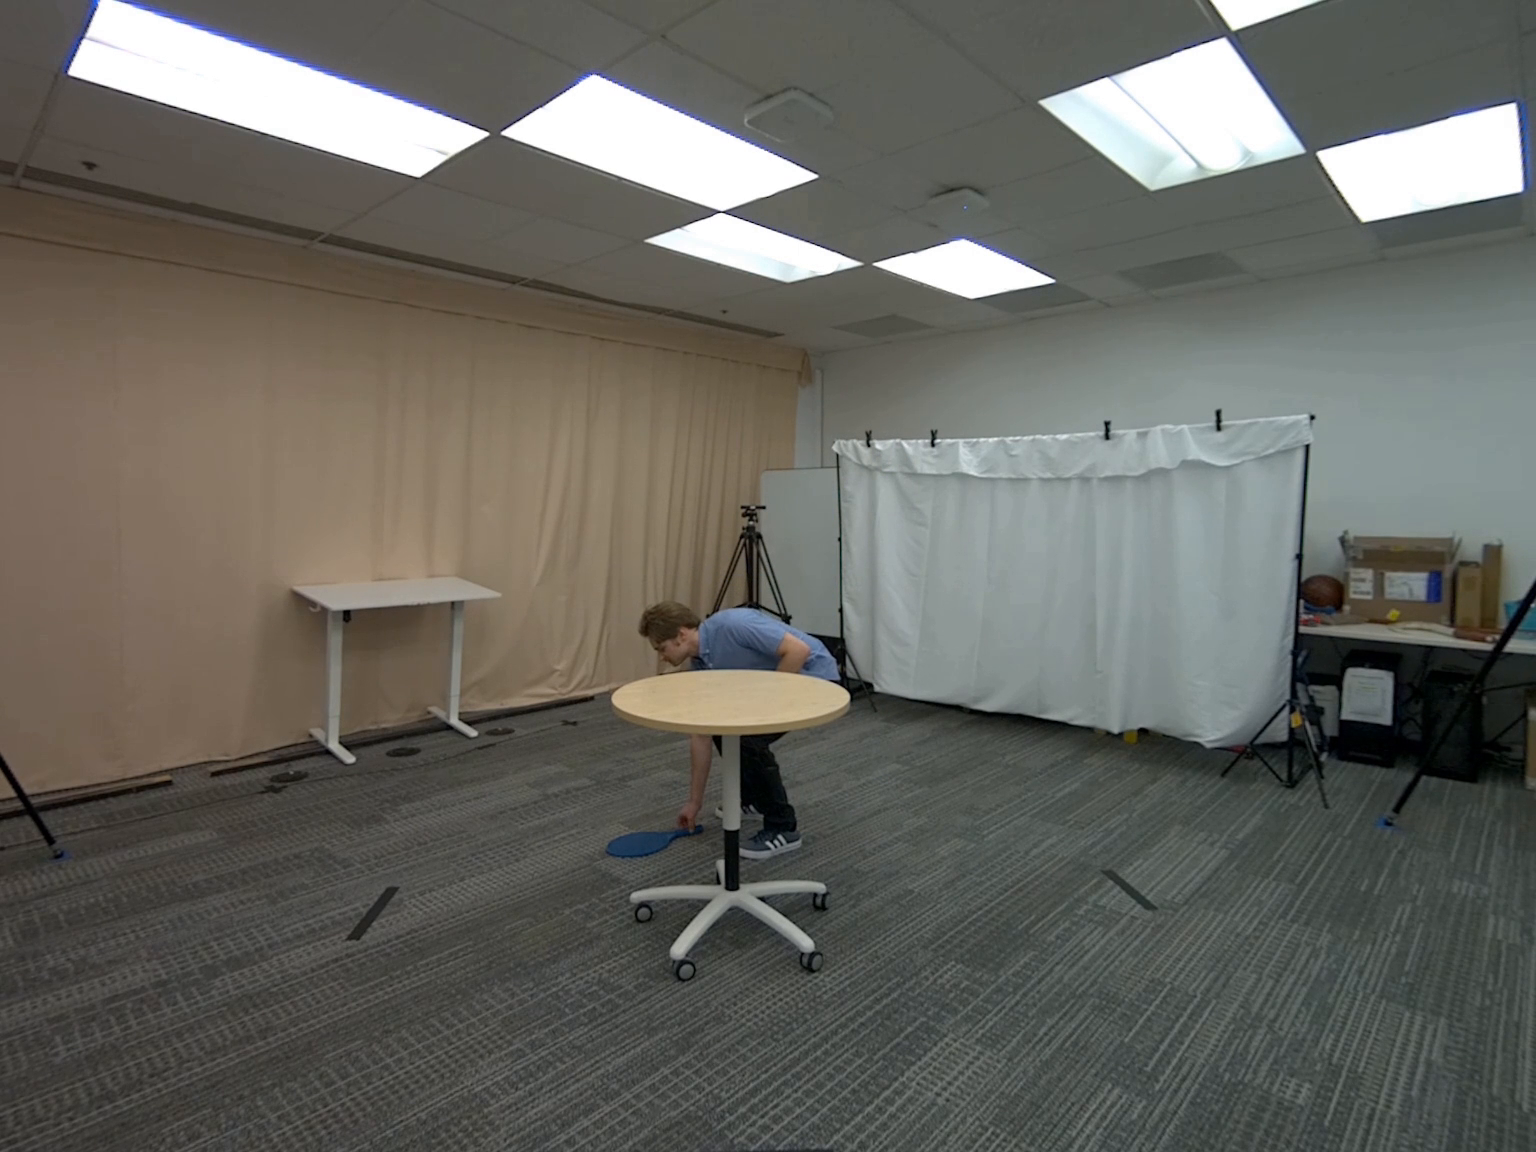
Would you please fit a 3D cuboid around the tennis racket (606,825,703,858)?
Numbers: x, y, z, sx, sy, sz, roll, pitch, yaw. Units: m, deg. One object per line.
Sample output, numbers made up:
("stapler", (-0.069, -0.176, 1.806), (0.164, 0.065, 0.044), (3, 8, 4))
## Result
("tennis racket", (-0.467, 1.092, 3.491), (0.421, 0.032, 0.220), (-5, 6, -32))
